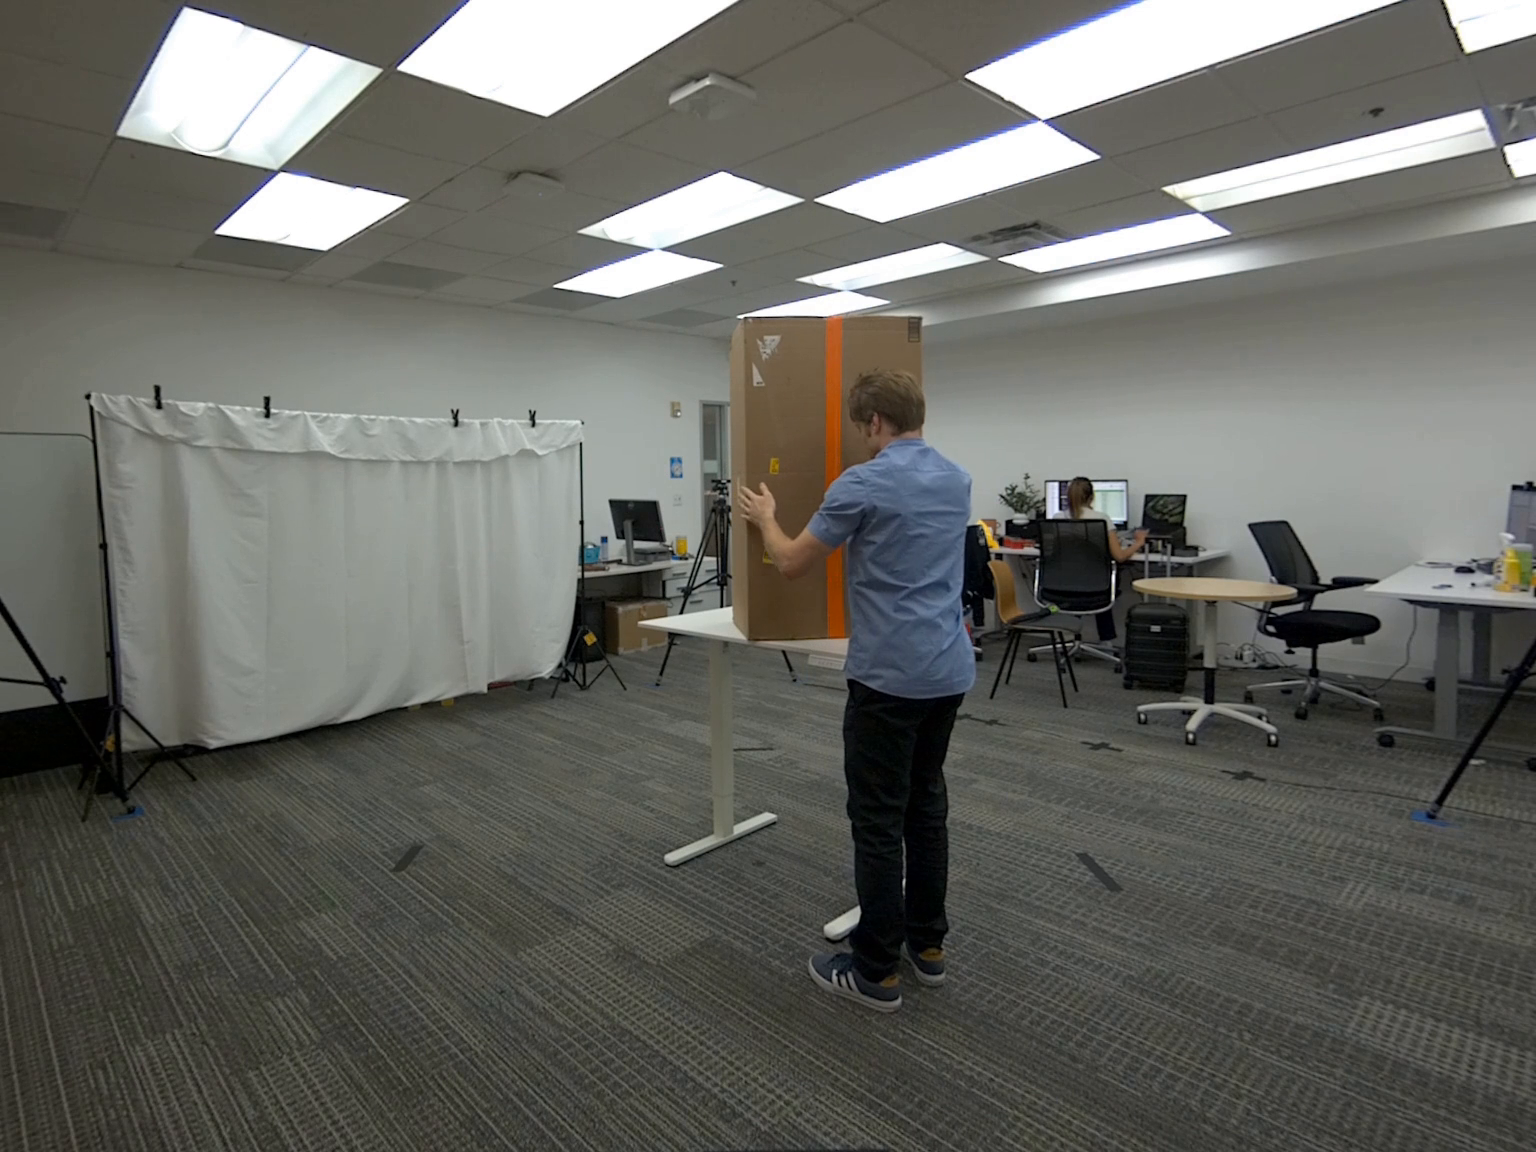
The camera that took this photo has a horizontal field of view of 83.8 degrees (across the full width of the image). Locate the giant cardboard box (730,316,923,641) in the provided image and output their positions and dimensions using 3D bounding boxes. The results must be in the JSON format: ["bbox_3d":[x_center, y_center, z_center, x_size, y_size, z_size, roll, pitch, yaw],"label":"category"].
[{"bbox_3d":[0.184,-0.330,2.915,0.574,1.023,0.430,-1,3,-6],"label":"giant cardboard box"}]
